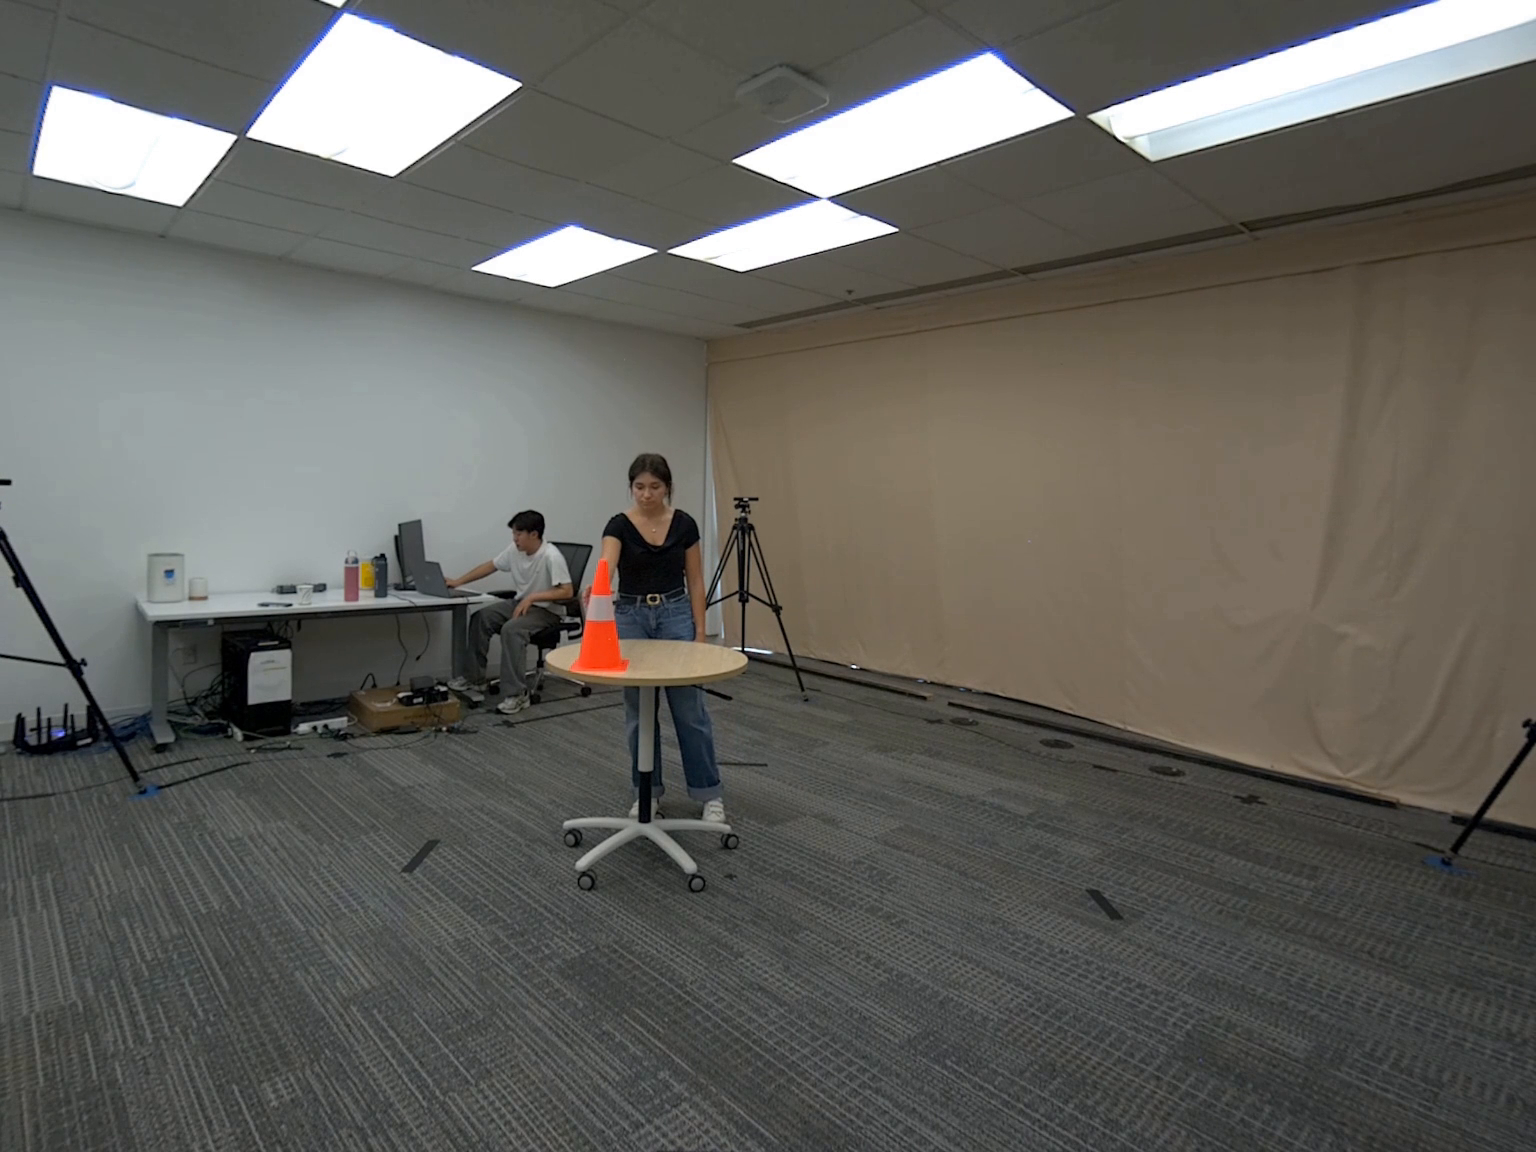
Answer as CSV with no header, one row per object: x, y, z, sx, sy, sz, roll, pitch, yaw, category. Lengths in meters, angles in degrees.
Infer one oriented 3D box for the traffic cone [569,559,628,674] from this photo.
-0.618,0.140,3.016,0.202,0.384,0.206,0,0,-9,traffic cone
